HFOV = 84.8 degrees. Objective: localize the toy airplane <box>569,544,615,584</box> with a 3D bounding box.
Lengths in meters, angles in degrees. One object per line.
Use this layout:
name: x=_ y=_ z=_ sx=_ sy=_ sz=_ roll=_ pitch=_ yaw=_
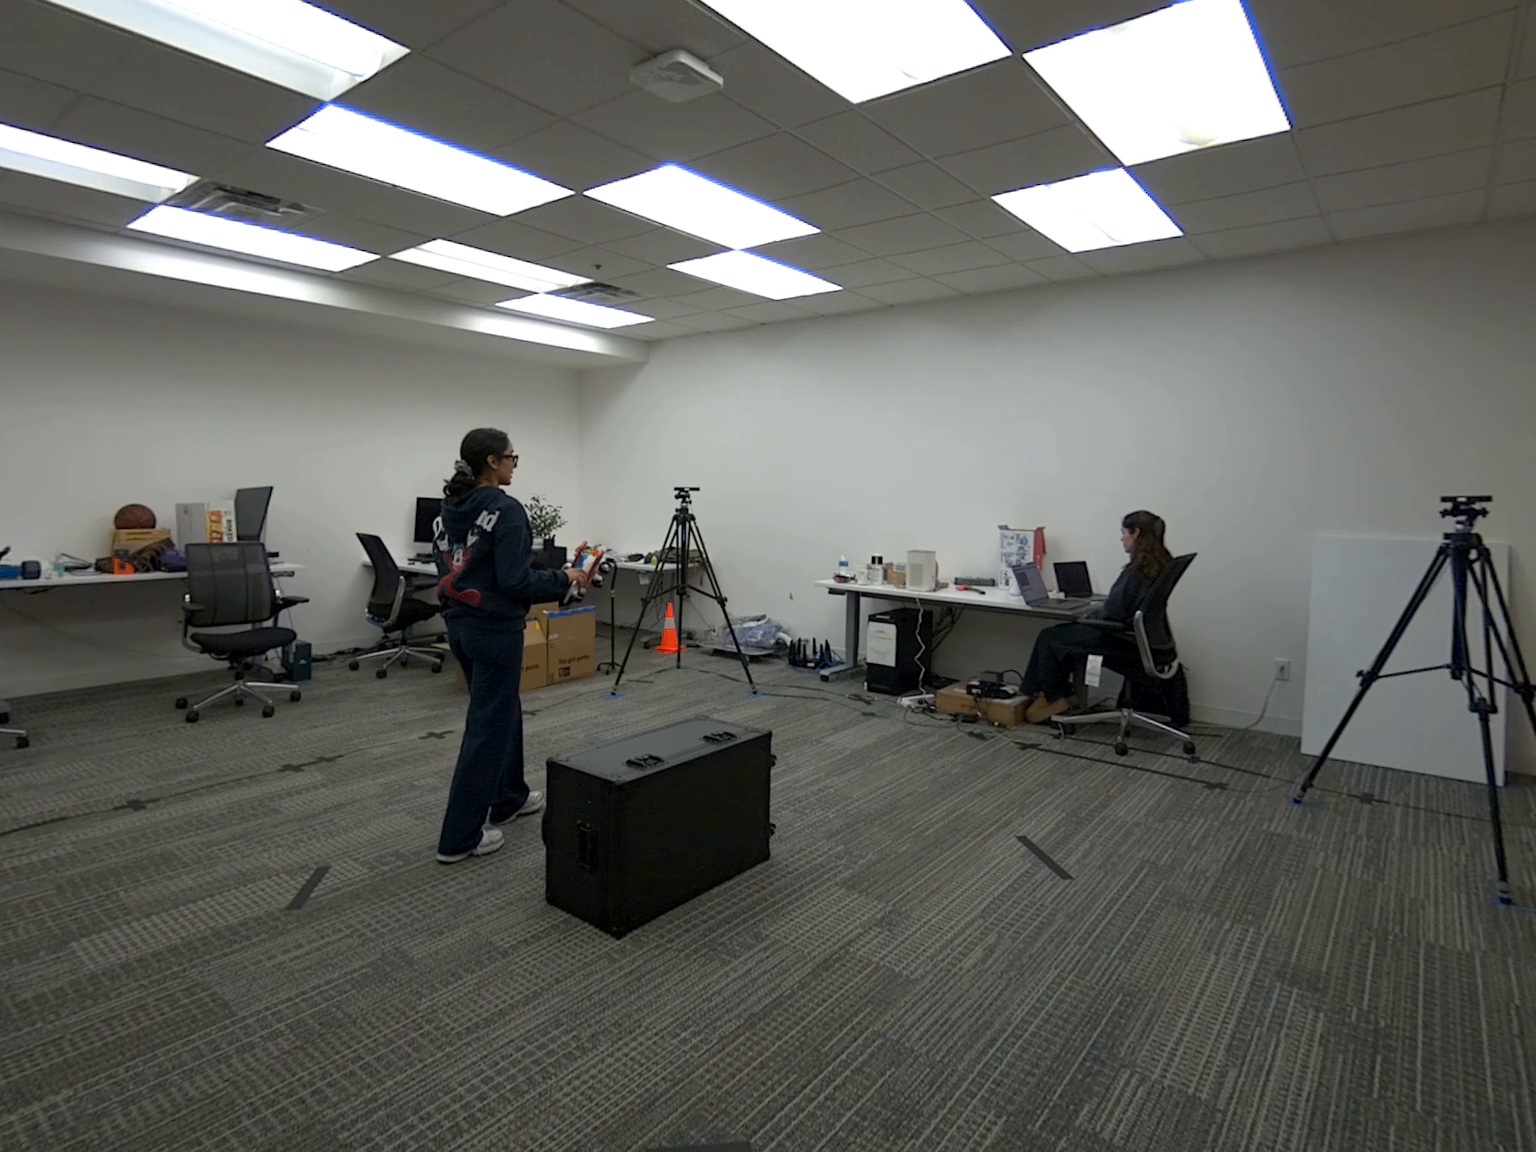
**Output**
toy airplane: x=-0.767 y=-0.010 z=3.461 sx=0.158 sy=0.251 sz=0.257 roll=37 pitch=8 yaw=4
